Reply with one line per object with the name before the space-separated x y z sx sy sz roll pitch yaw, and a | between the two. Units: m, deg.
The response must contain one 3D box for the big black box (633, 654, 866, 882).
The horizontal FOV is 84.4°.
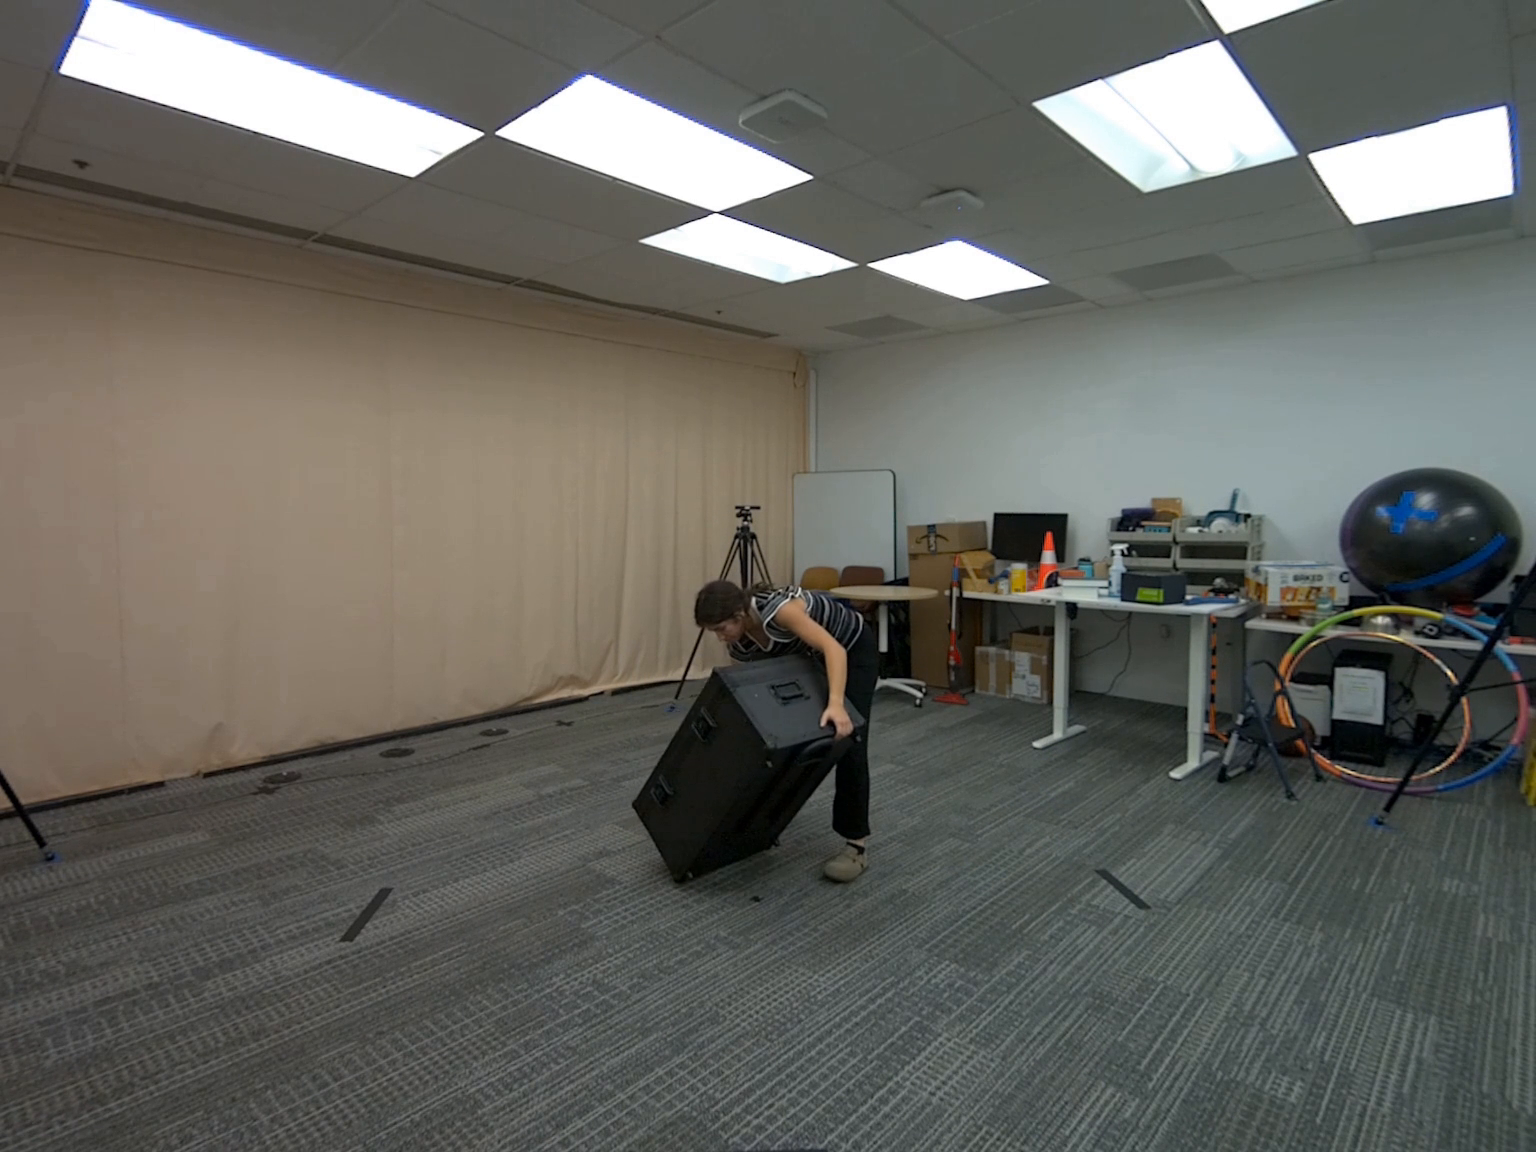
big black box | -0.104 0.734 3.117 0.505 0.861 0.408 -5 47 -43
